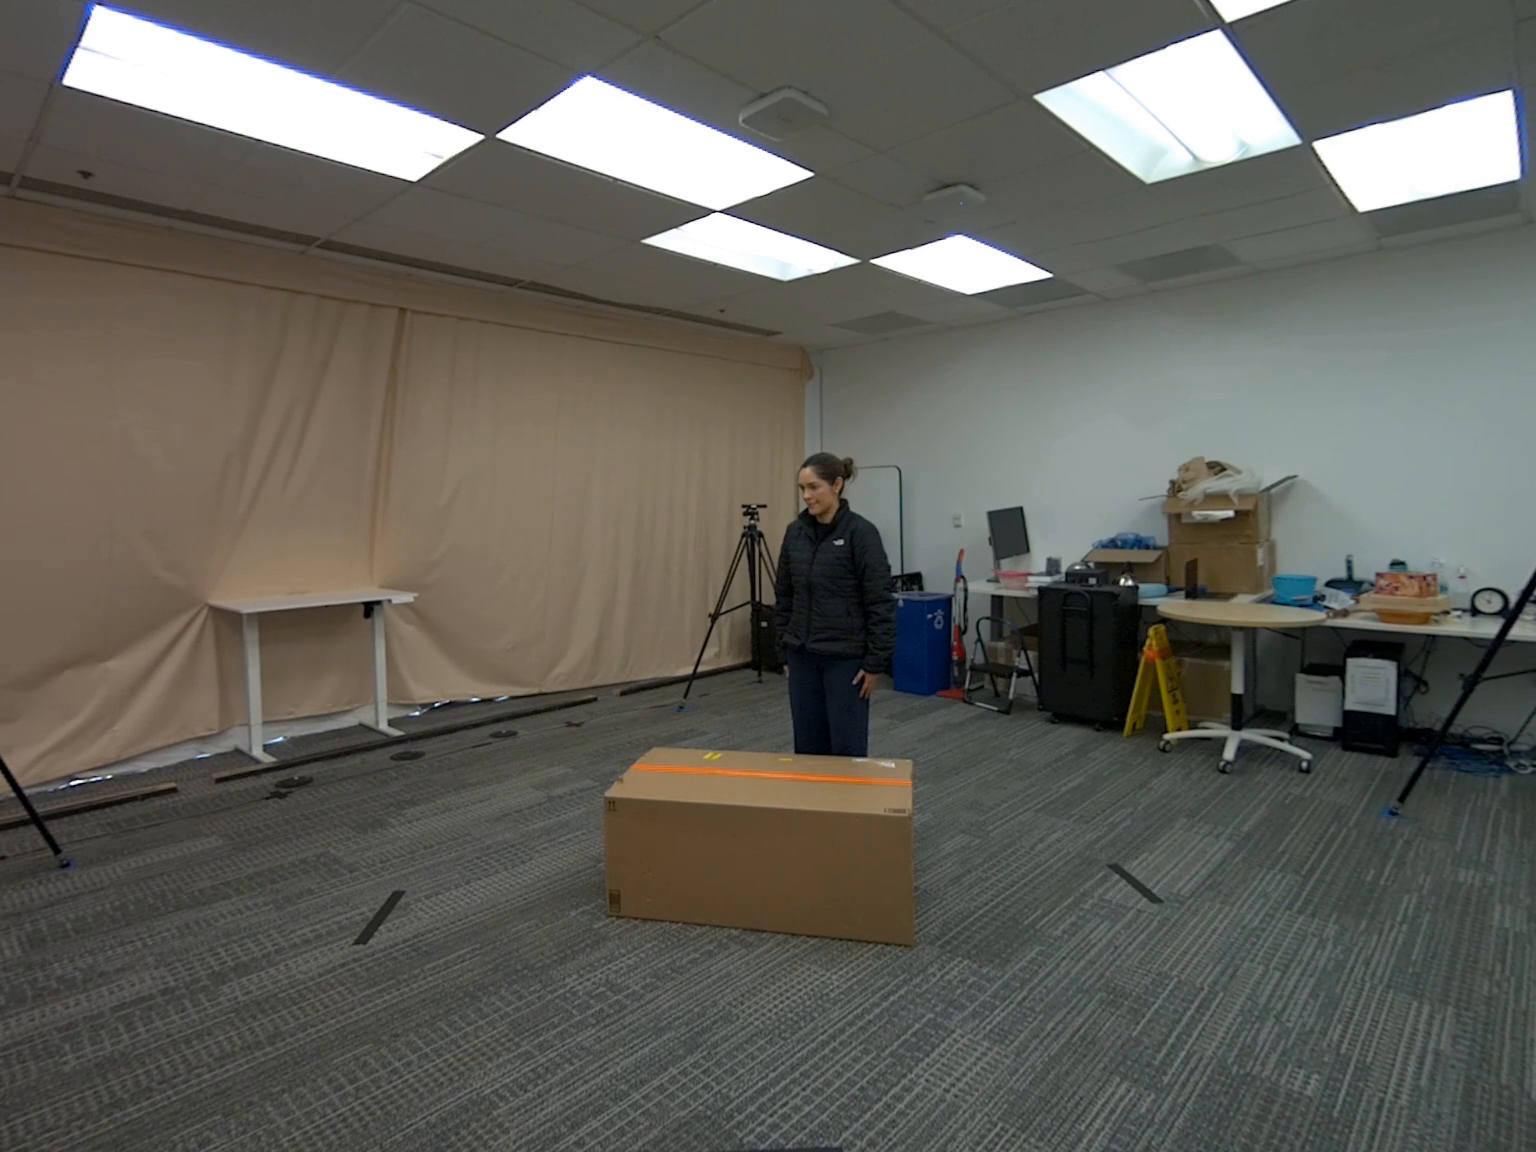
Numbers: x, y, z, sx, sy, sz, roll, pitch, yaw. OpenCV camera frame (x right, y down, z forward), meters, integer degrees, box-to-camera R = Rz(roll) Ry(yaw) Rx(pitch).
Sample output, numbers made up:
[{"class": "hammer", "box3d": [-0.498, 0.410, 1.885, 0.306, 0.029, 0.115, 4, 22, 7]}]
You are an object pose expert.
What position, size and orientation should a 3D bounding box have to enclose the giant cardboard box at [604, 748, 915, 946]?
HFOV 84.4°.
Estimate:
[{"class": "giant cardboard box", "box3d": [0.011, 0.919, 3.013, 1.040, 0.425, 0.571, 0, 3, 12]}]
